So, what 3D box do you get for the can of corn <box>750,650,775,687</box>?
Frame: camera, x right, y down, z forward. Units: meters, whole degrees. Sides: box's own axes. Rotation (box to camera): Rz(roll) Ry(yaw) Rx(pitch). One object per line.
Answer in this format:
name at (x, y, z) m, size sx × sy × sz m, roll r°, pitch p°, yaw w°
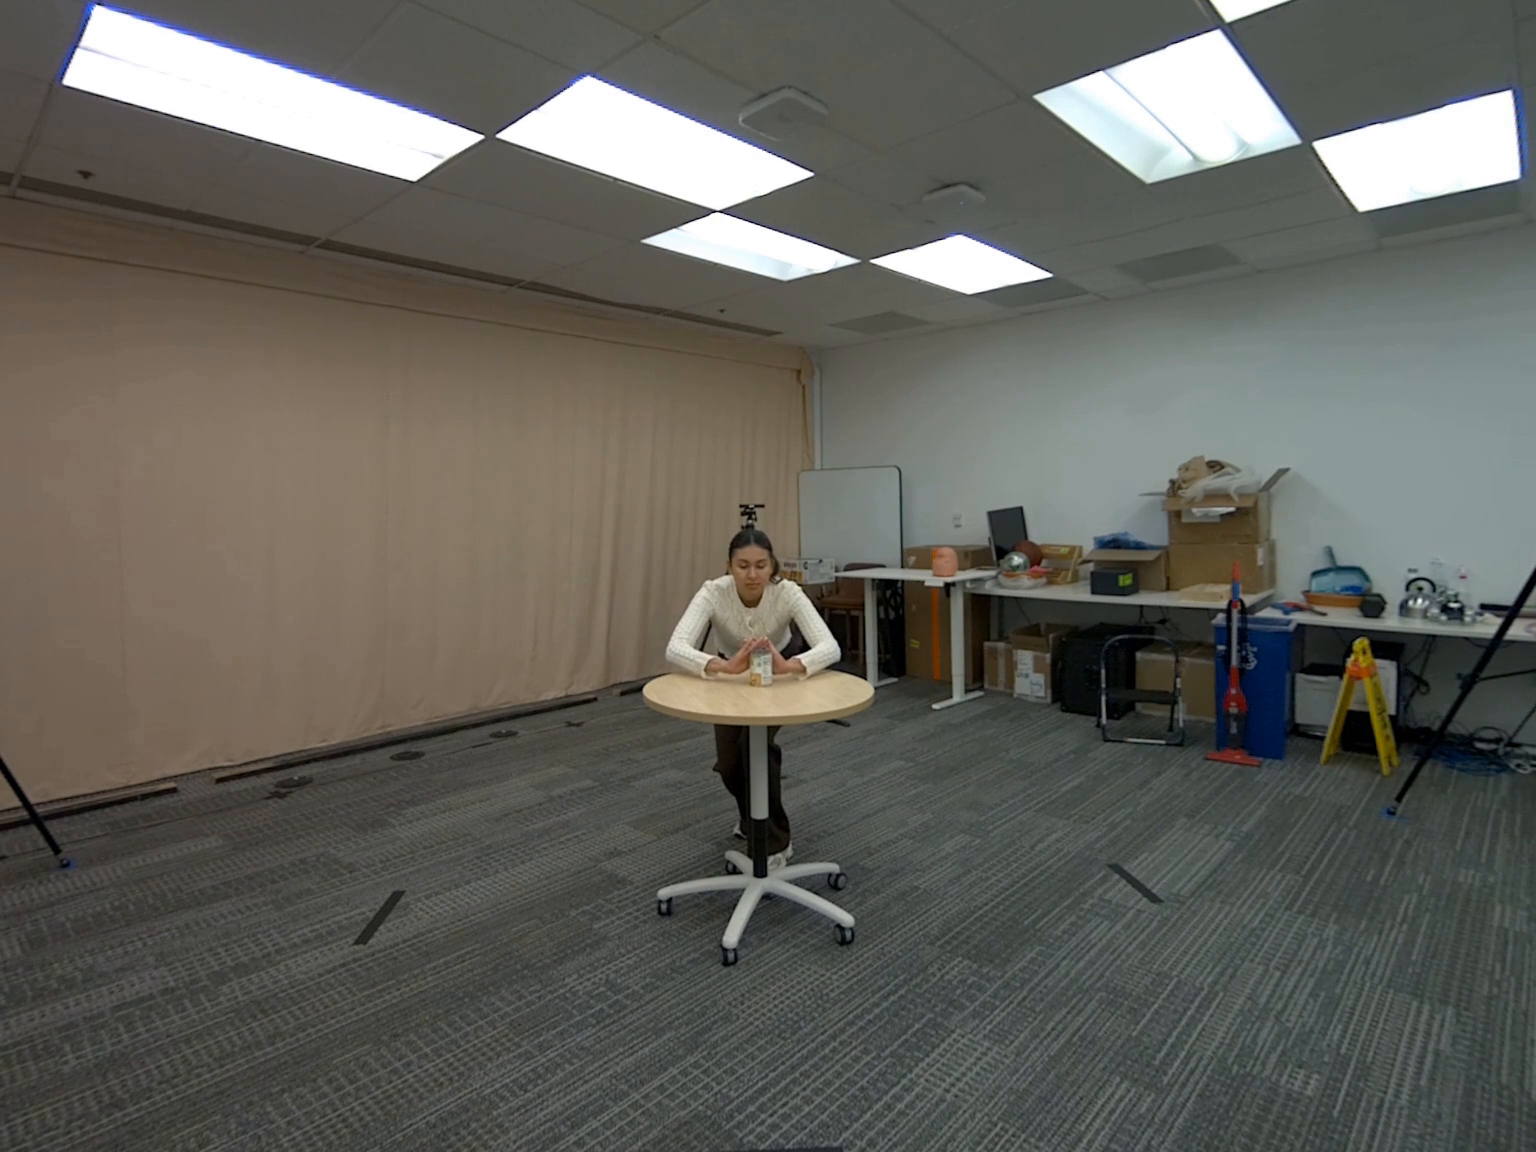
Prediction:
can of corn at (-0.021, 0.306, 2.845) m, size 0.074 × 0.111 × 0.074 m, roll 0°, pitch 5°, yaw -2°
